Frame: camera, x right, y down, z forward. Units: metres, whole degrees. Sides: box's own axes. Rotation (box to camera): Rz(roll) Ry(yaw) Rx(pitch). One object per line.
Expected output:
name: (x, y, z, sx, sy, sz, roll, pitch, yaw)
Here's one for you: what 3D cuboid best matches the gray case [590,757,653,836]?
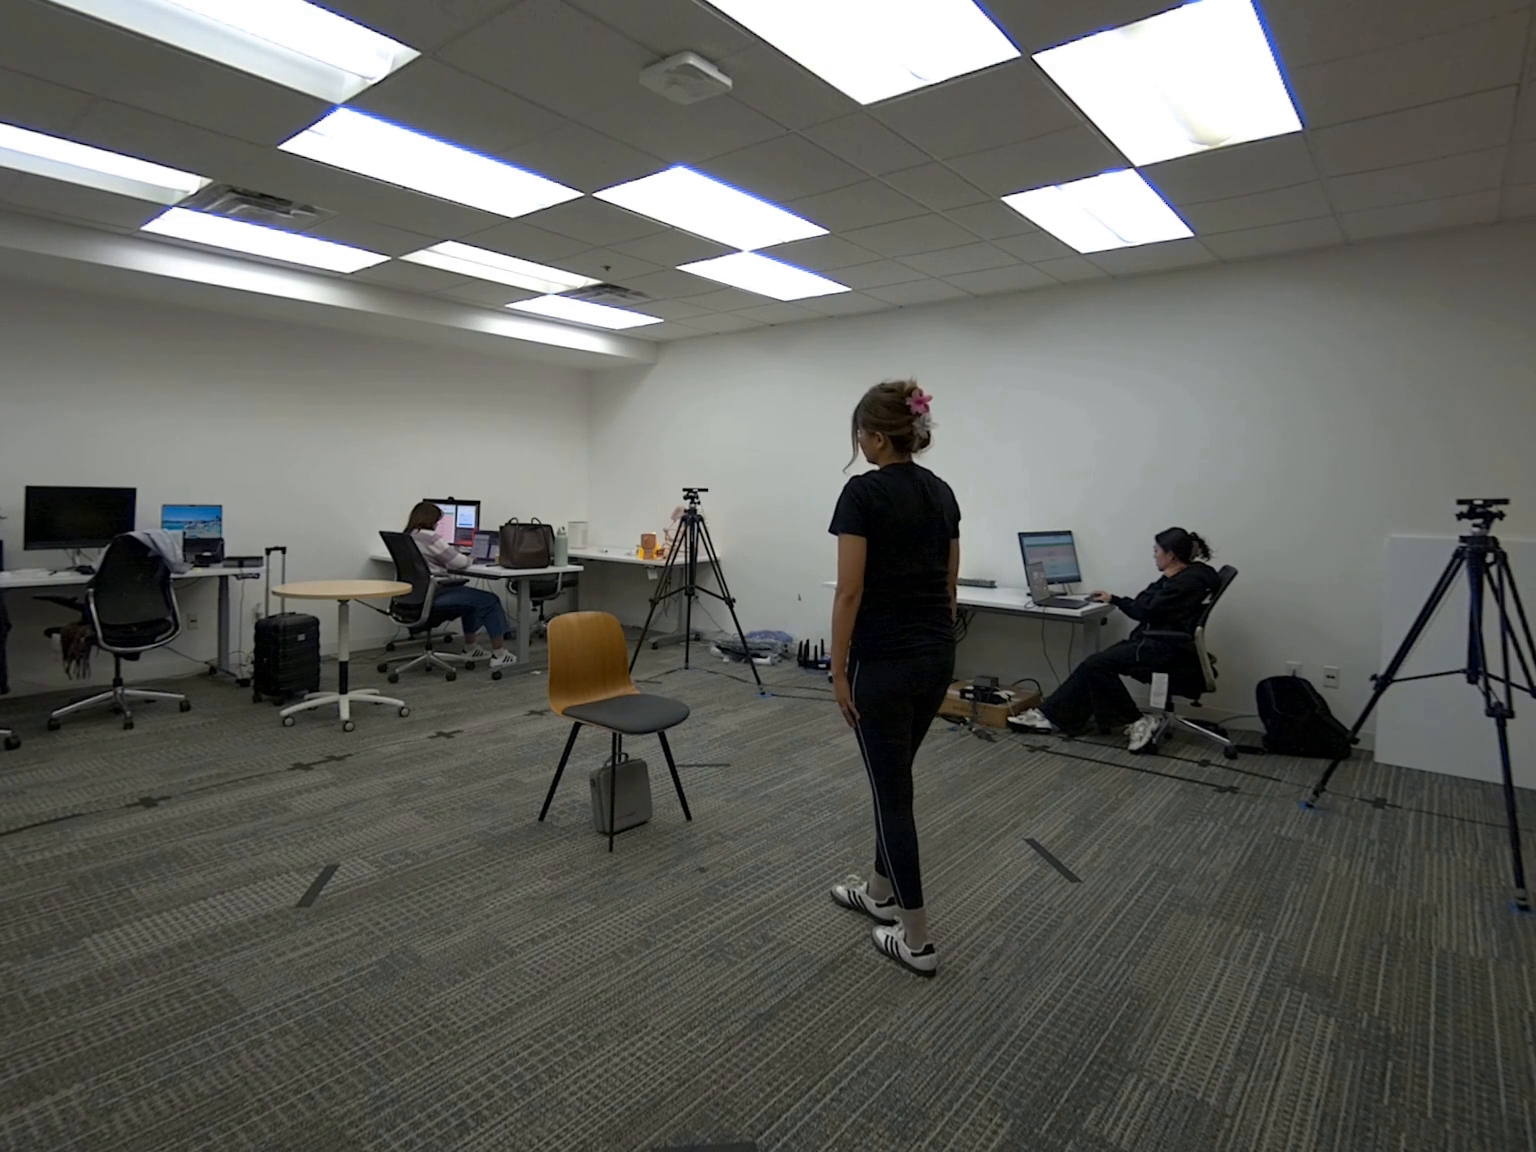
gray case: (-0.616, 0.897, 3.498, 0.107, 0.262, 0.249, -10, -5, 44)
